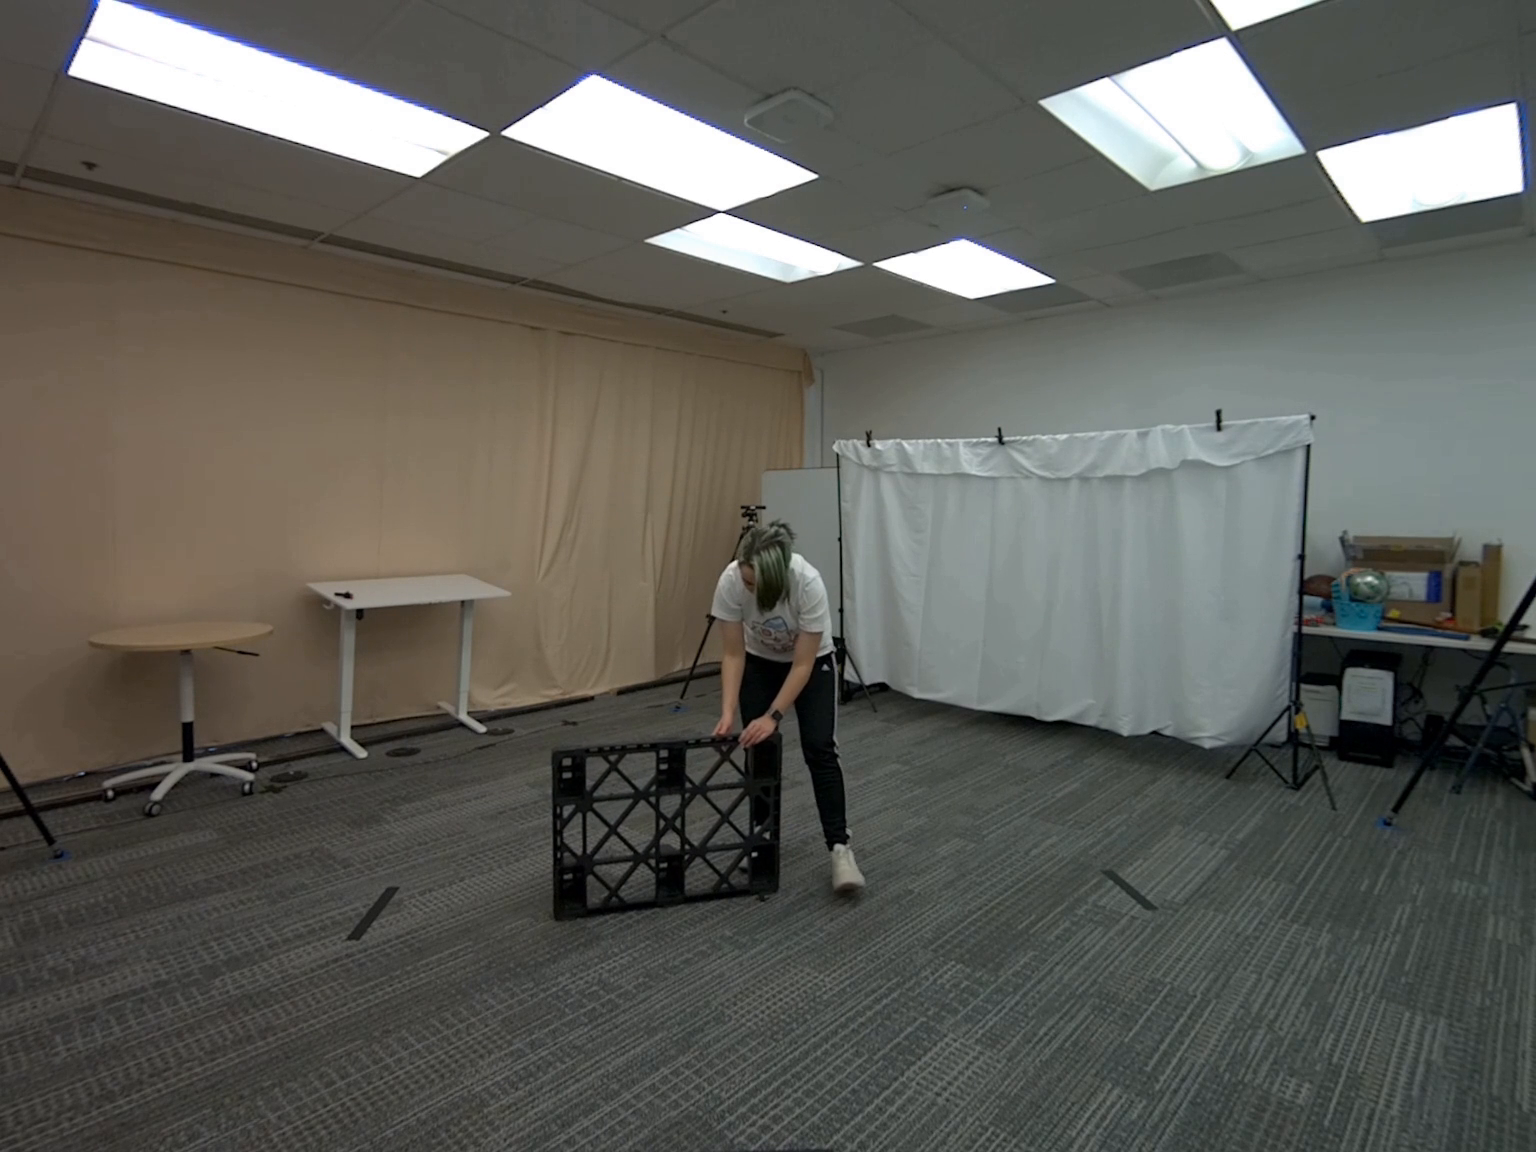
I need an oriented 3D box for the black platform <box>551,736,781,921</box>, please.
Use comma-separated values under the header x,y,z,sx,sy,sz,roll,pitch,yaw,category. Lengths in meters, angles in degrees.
x,y,z,sx,sy,sz,roll,pitch,yaw,category
-0.357,0.843,2.944,0.793,0.602,0.146,-1,7,-15,black platform
